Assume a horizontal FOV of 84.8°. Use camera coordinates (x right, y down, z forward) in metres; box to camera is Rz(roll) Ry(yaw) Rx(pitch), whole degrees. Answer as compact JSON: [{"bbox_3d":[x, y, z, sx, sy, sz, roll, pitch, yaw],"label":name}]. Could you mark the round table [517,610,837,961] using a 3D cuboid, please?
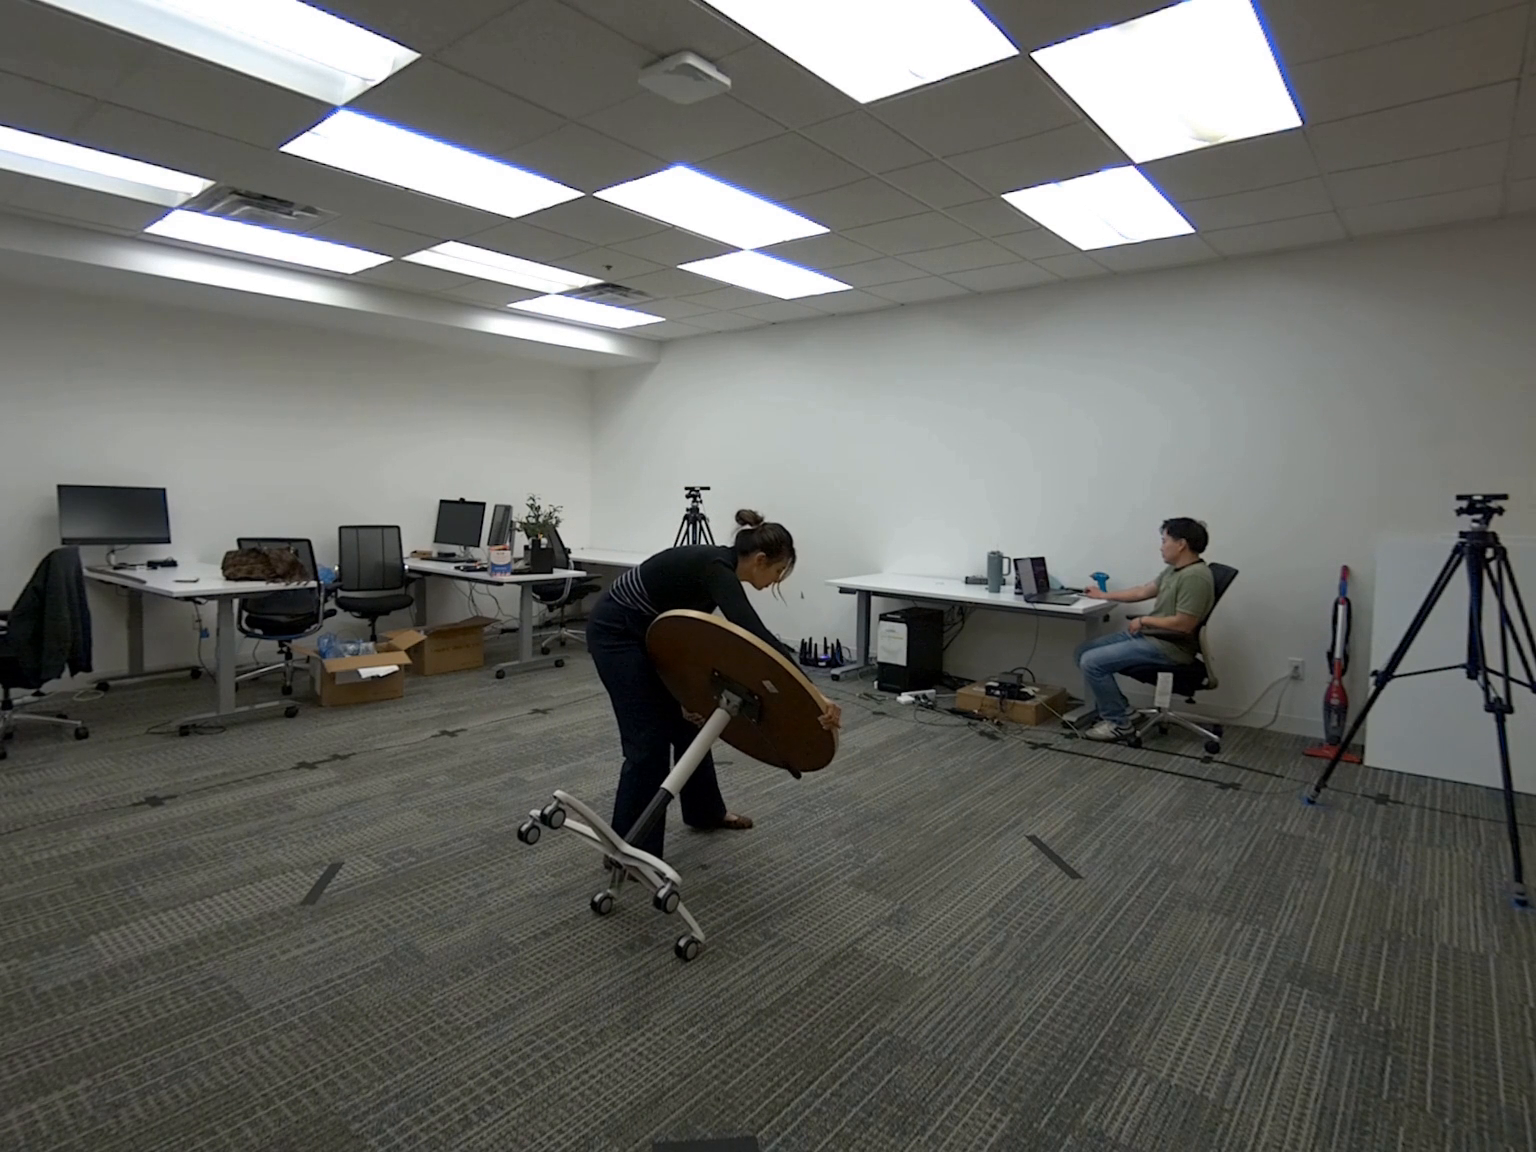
[{"bbox_3d":[-0.308,0.657,2.718,0.790,0.738,0.795,4,44,42],"label":"round table"}]
